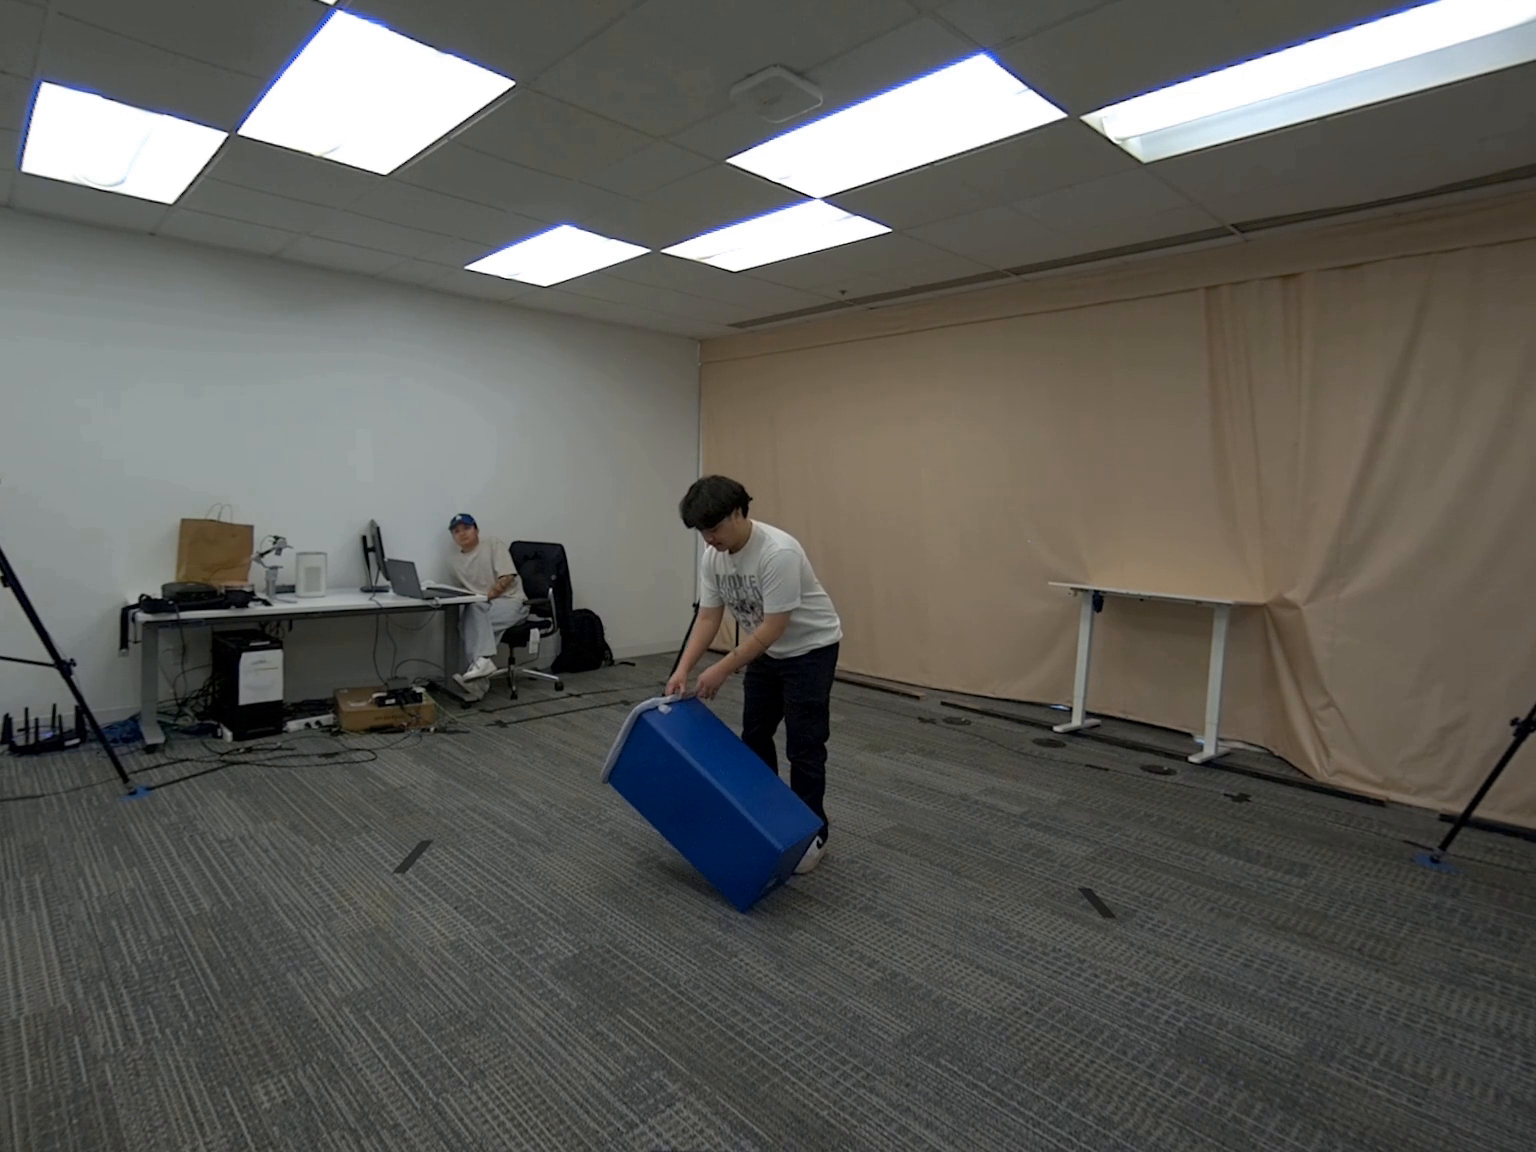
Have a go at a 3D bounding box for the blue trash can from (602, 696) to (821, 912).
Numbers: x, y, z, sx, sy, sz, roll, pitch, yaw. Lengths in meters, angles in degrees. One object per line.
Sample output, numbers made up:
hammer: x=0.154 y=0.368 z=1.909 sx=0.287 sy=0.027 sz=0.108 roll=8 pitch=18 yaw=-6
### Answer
blue trash can: x=-0.212 y=0.807 z=3.050 sx=0.732 sy=0.372 sz=0.370 roll=39 pitch=22 yaw=26
